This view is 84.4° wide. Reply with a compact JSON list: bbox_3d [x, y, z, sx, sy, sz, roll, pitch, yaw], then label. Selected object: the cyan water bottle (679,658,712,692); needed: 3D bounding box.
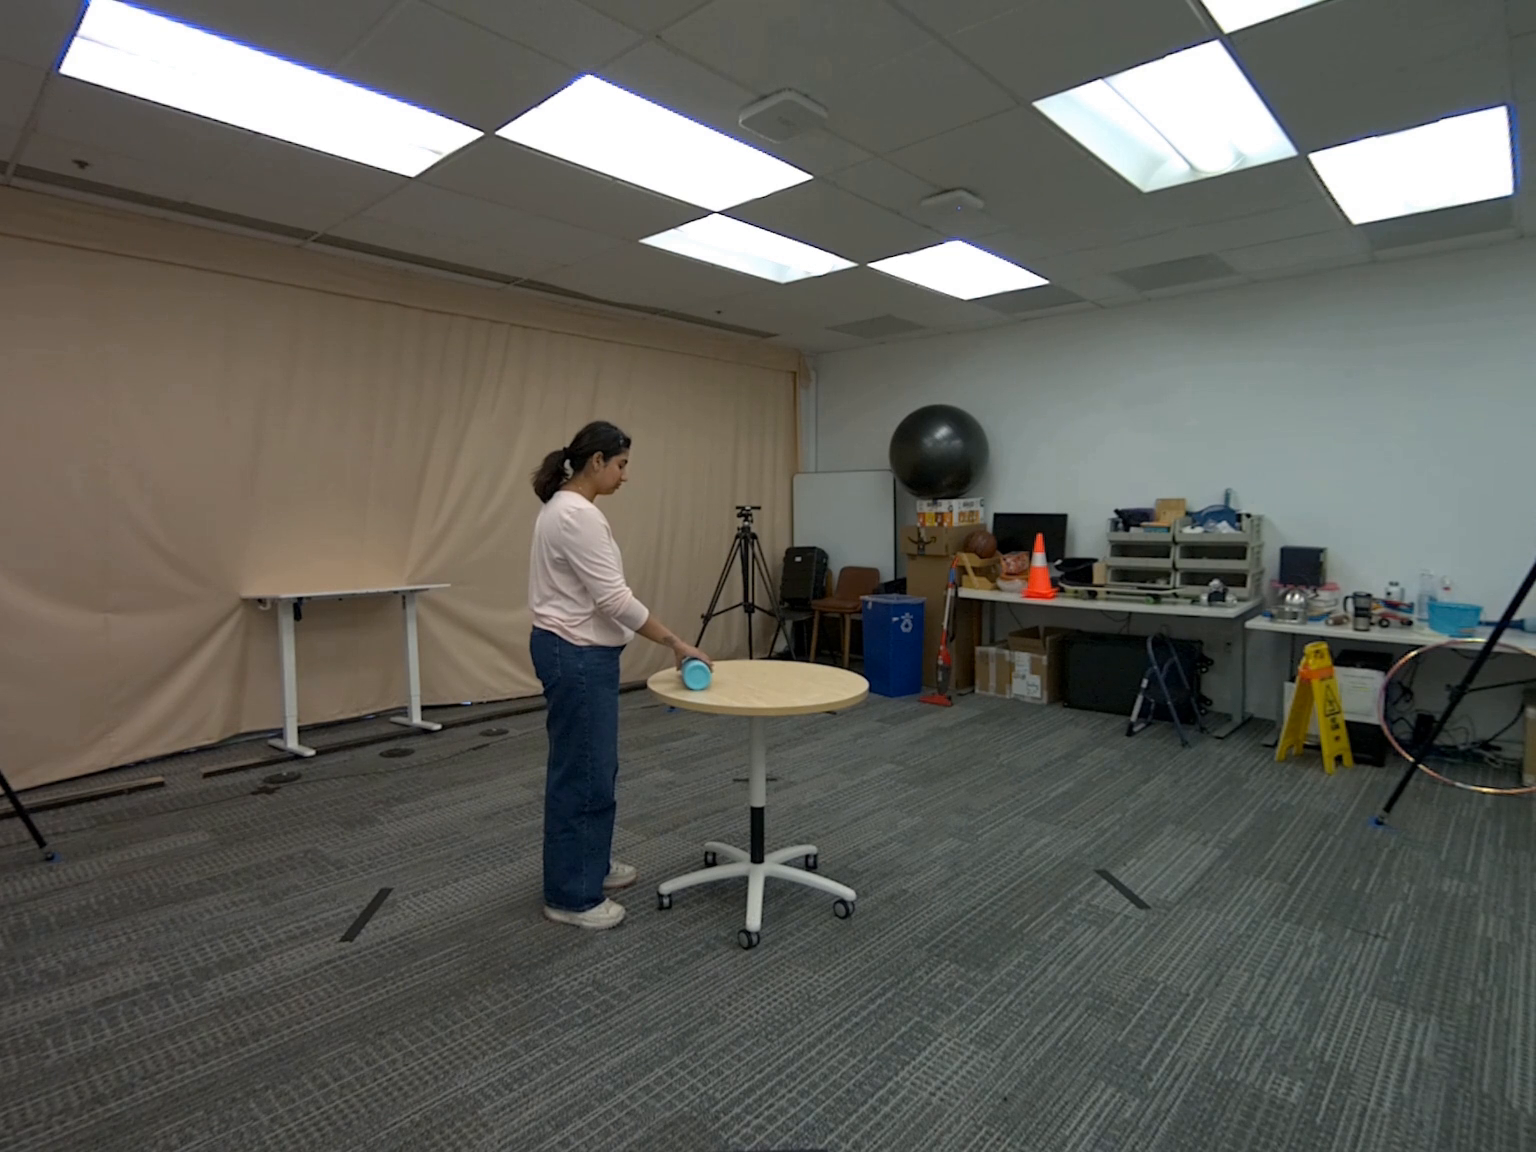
[{"bbox_3d":[-0.246,0.320,2.900,0.091,0.092,0.287,-1,5,-10],"label":"cyan water bottle"}]
